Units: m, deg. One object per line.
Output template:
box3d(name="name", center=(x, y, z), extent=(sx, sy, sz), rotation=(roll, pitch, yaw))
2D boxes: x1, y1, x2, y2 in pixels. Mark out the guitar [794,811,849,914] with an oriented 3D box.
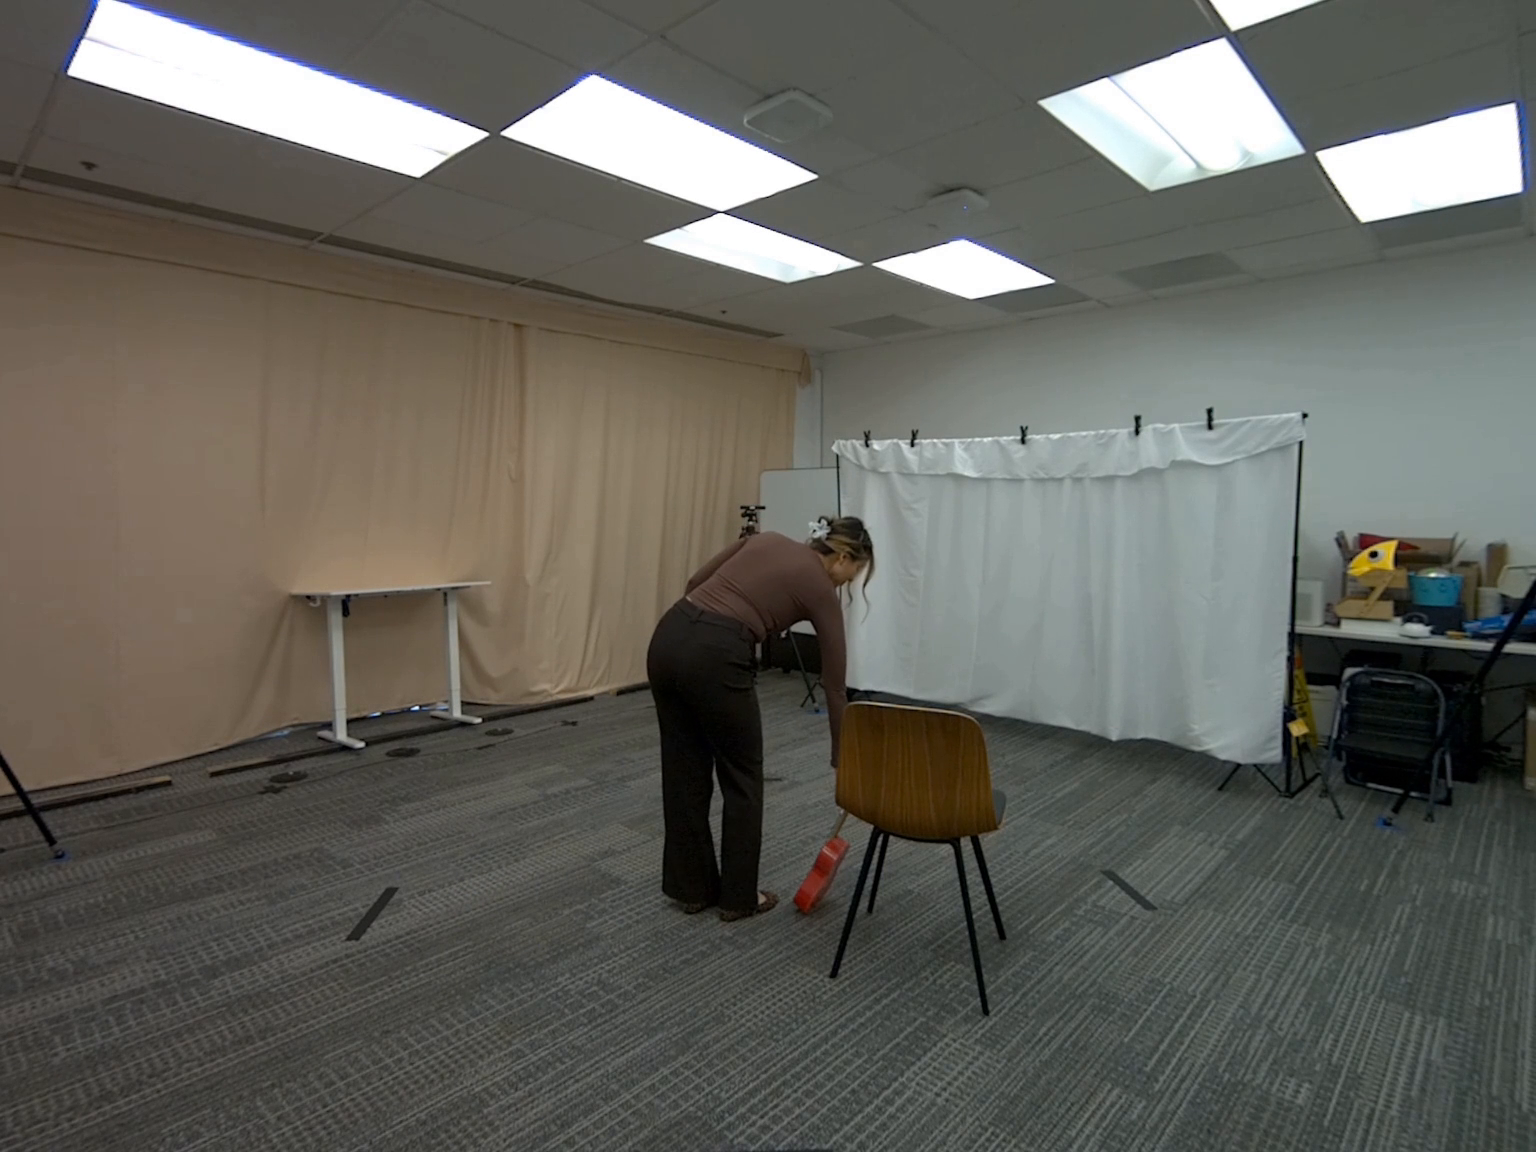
box3d(name="guitar", center=(0.217, 0.923, 2.844), extent=(0.073, 0.496, 0.188), rotation=(29, 20, 23))
